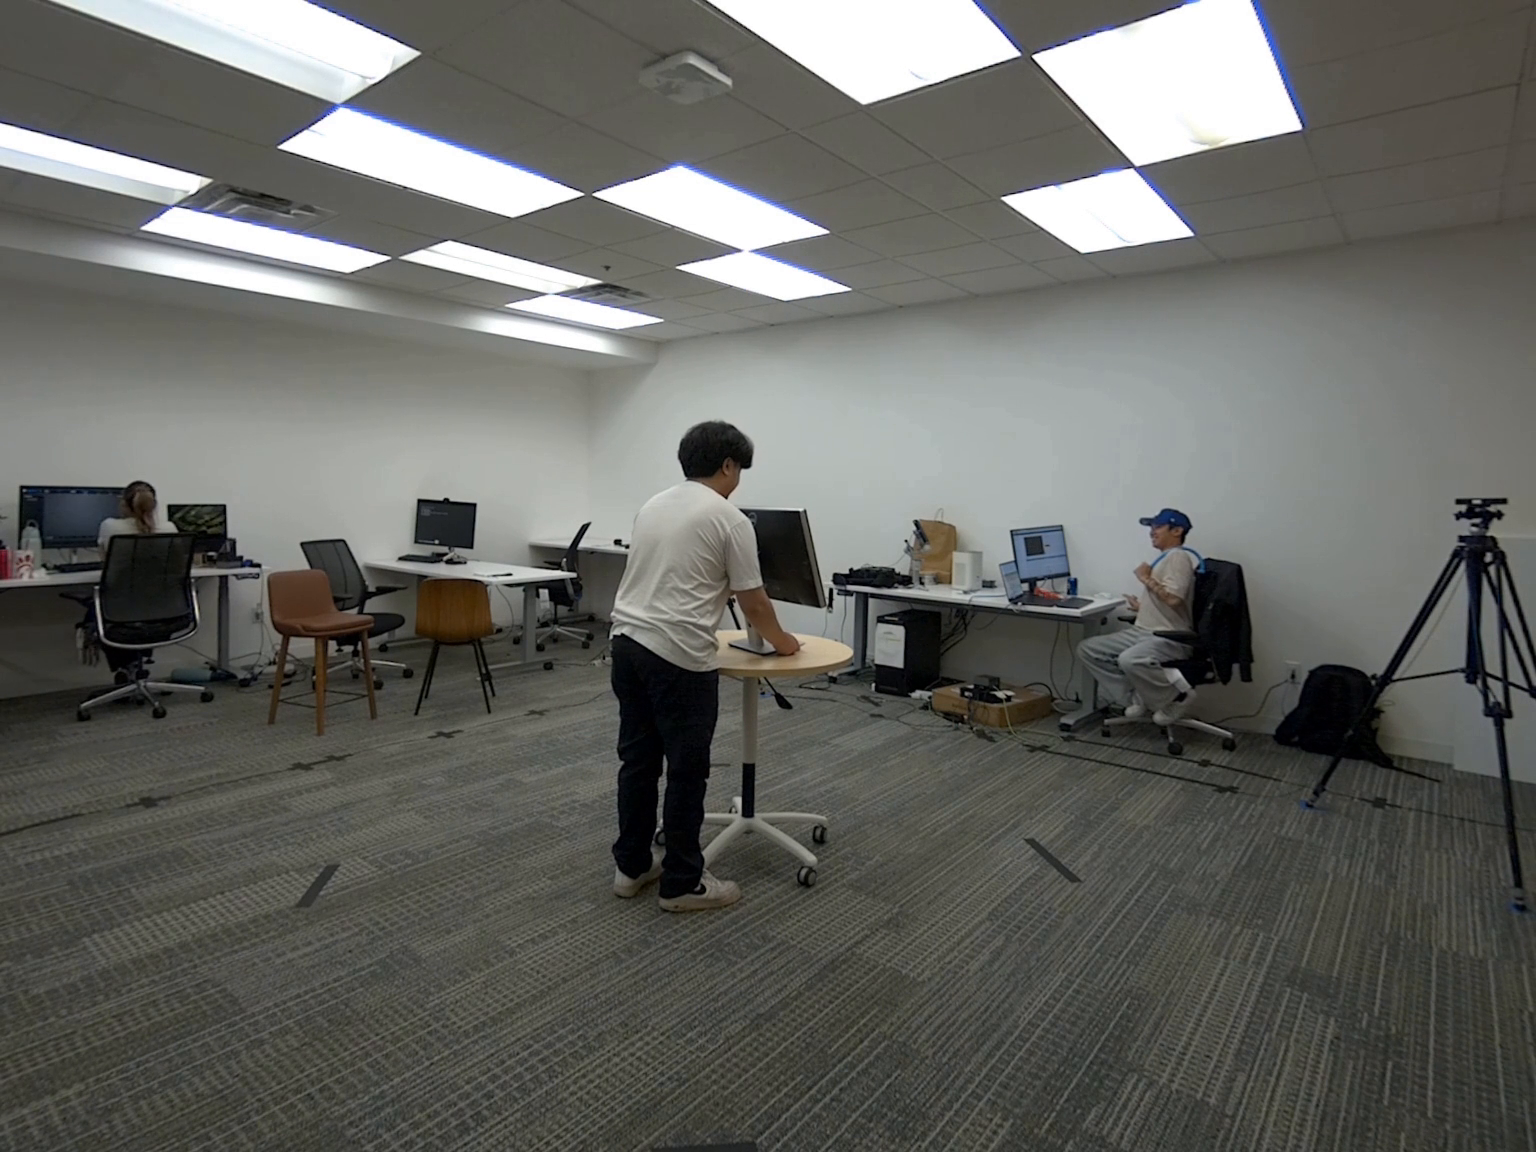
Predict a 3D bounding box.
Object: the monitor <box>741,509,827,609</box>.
[{"bbox_3d":[-0.059,0.016,3.170,0.205,0.548,0.584,-14,13,-34],"label":"monitor"}]
